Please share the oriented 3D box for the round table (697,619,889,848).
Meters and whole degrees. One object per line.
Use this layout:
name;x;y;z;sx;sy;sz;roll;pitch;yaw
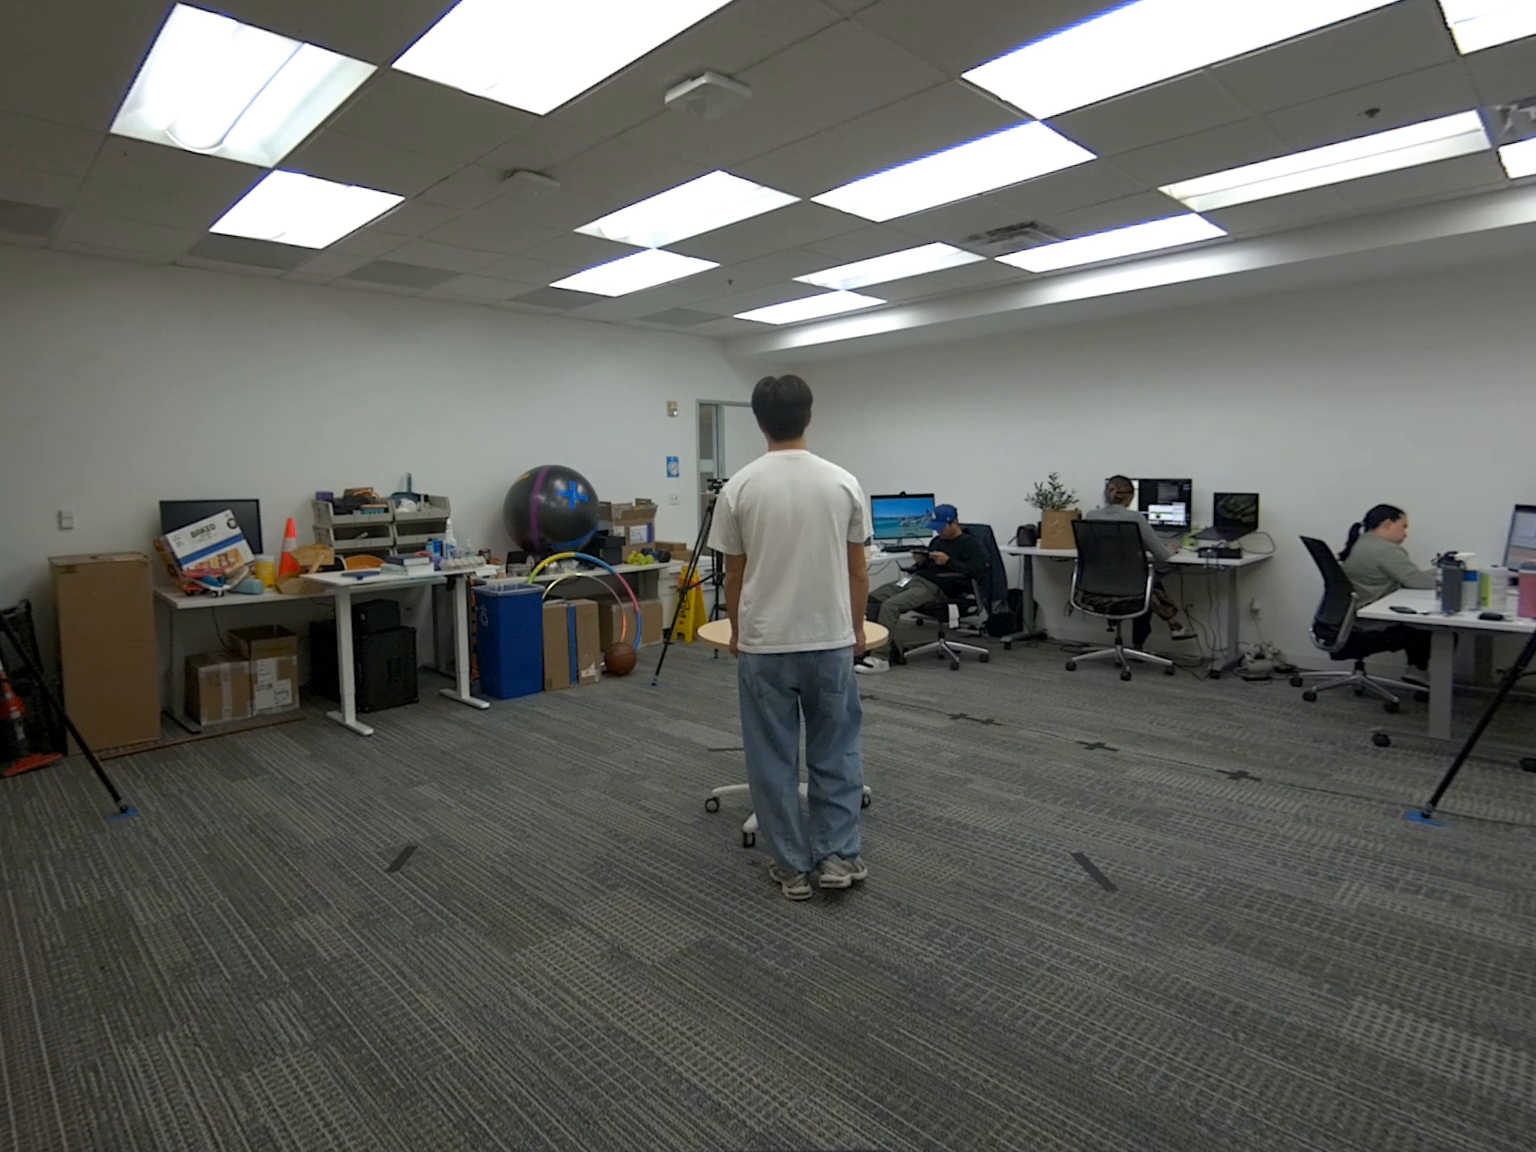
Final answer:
round table;0.100;0.611;3.484;0.763;0.791;0.768;-1;5;-2
